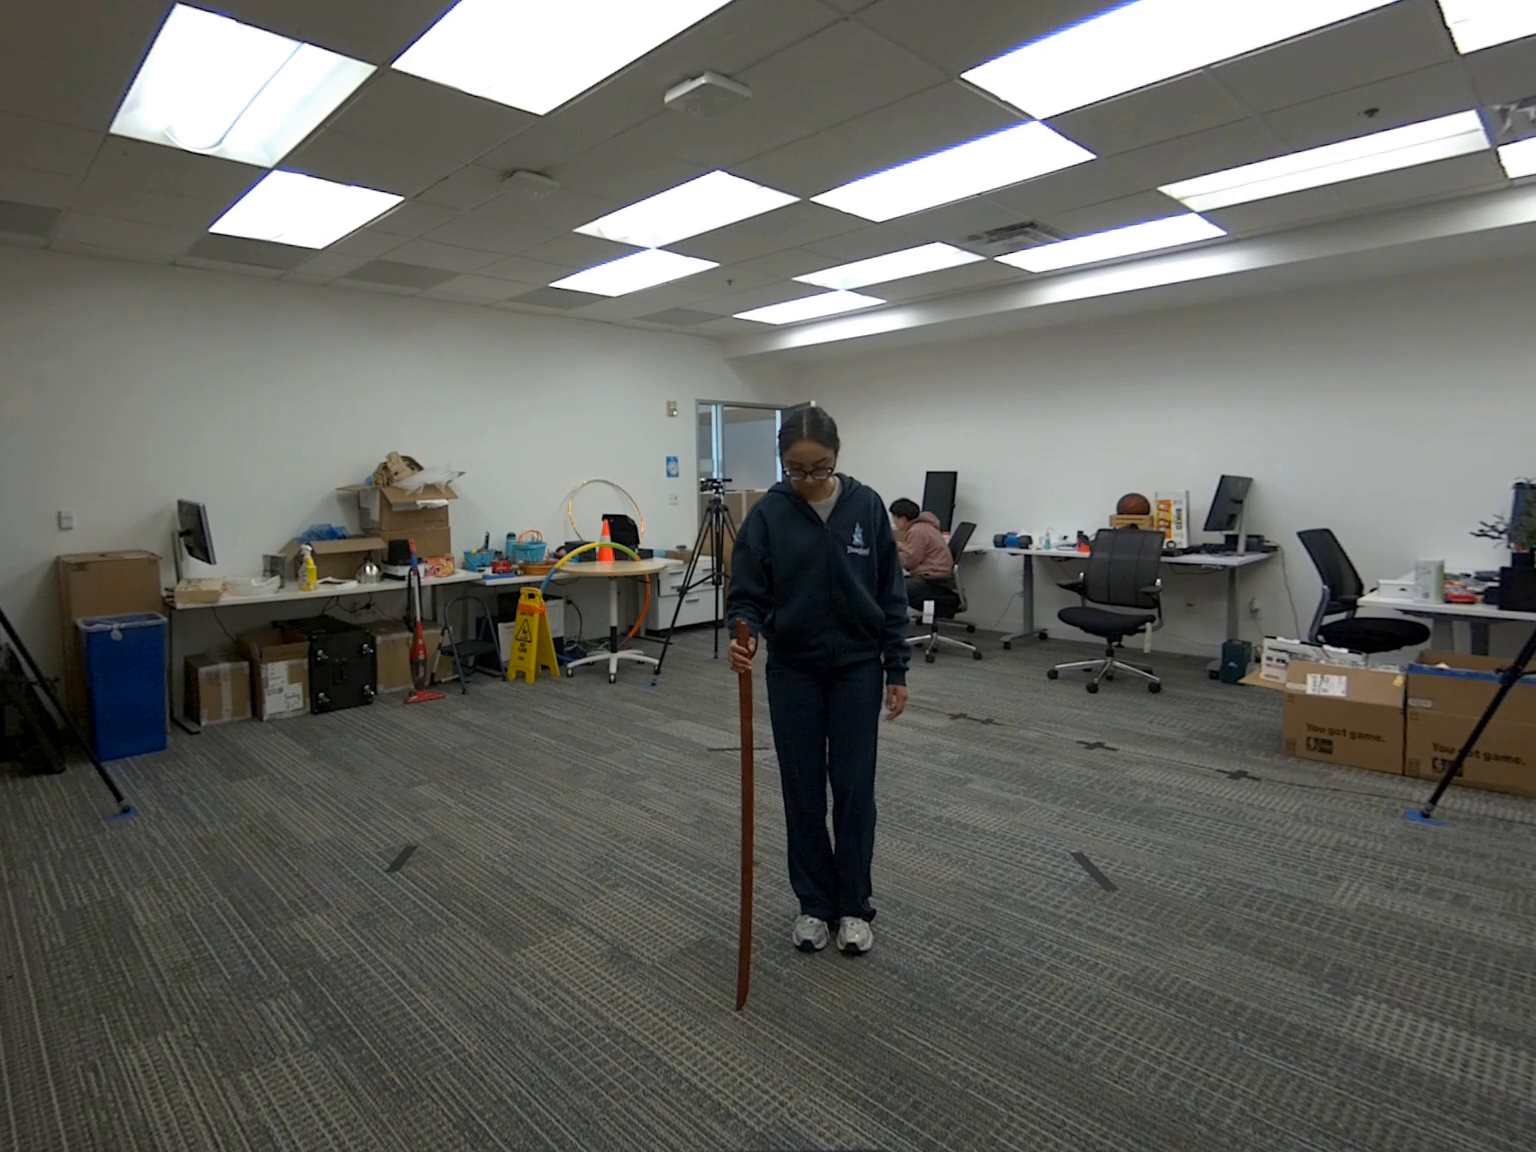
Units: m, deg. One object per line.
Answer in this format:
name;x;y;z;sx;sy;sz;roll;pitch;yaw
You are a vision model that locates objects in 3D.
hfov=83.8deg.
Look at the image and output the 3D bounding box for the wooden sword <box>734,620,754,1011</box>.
wooden sword;-0.060;0.648;2.279;0.051;1.026;0.024;0;-2;-11
